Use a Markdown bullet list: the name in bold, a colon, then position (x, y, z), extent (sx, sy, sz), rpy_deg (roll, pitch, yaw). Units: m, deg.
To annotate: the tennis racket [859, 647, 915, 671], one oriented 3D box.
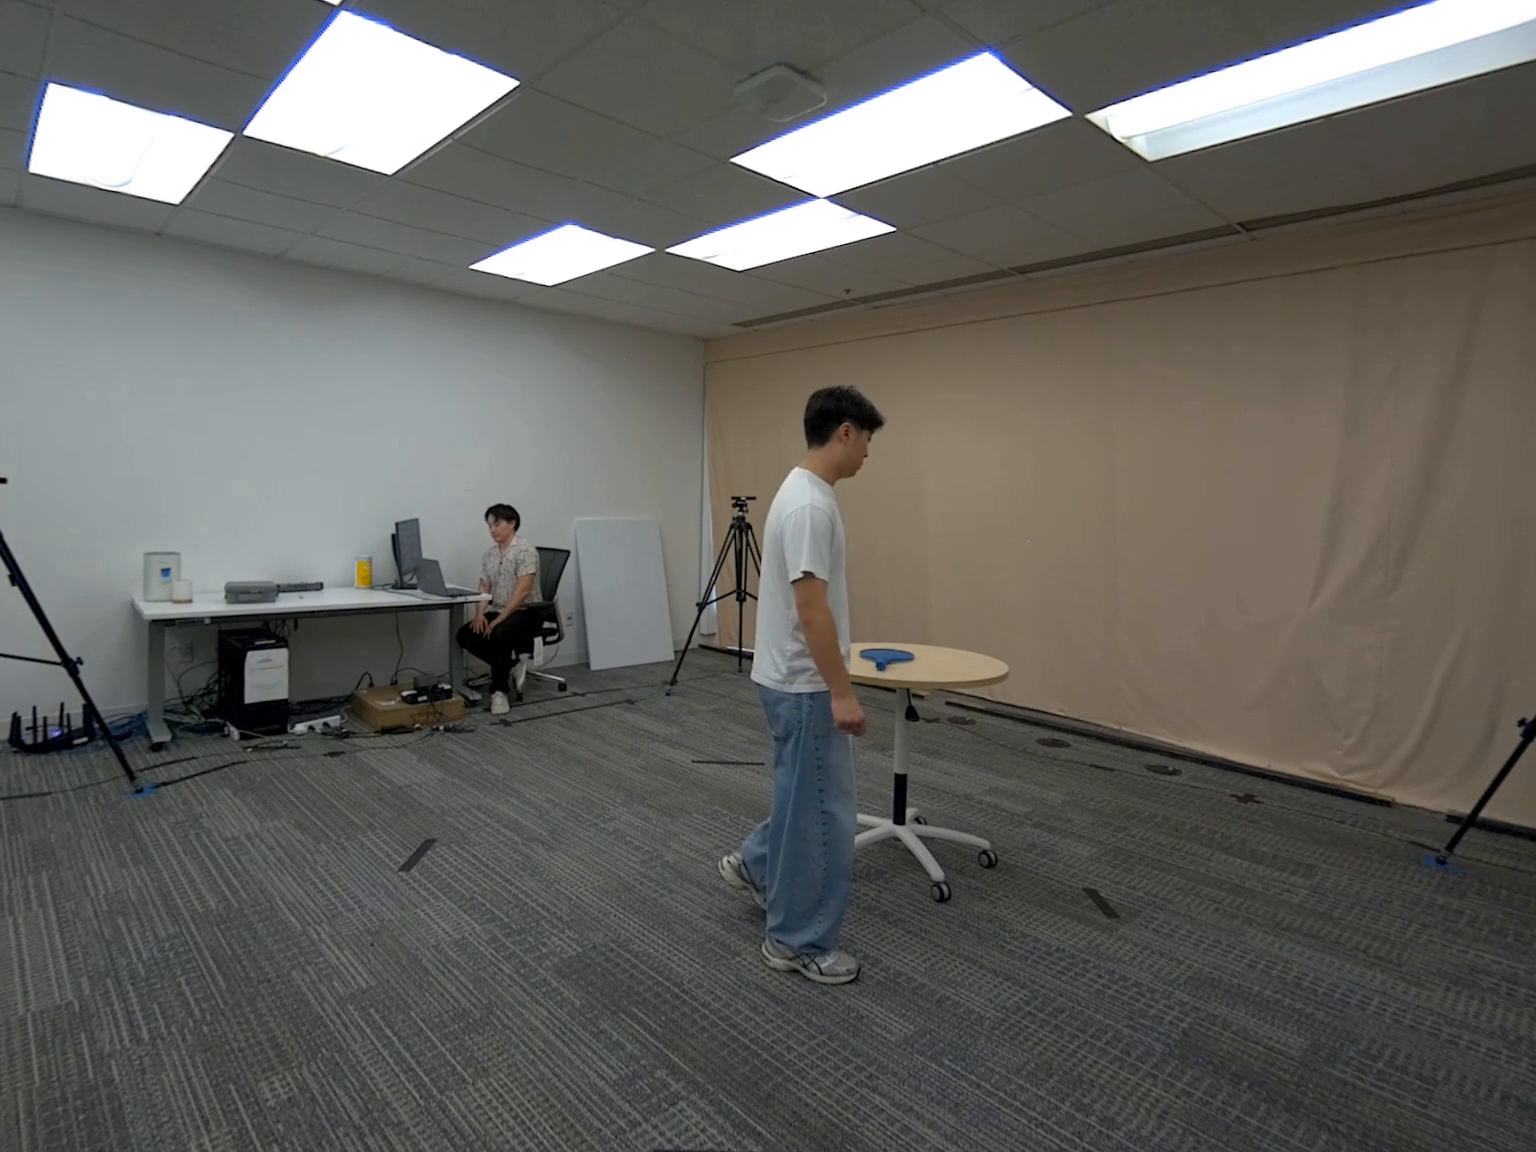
- **tennis racket**: position (0.438, 0.316, 3.239), extent (0.216, 0.032, 0.428), rpy_deg (3, 4, 15)
